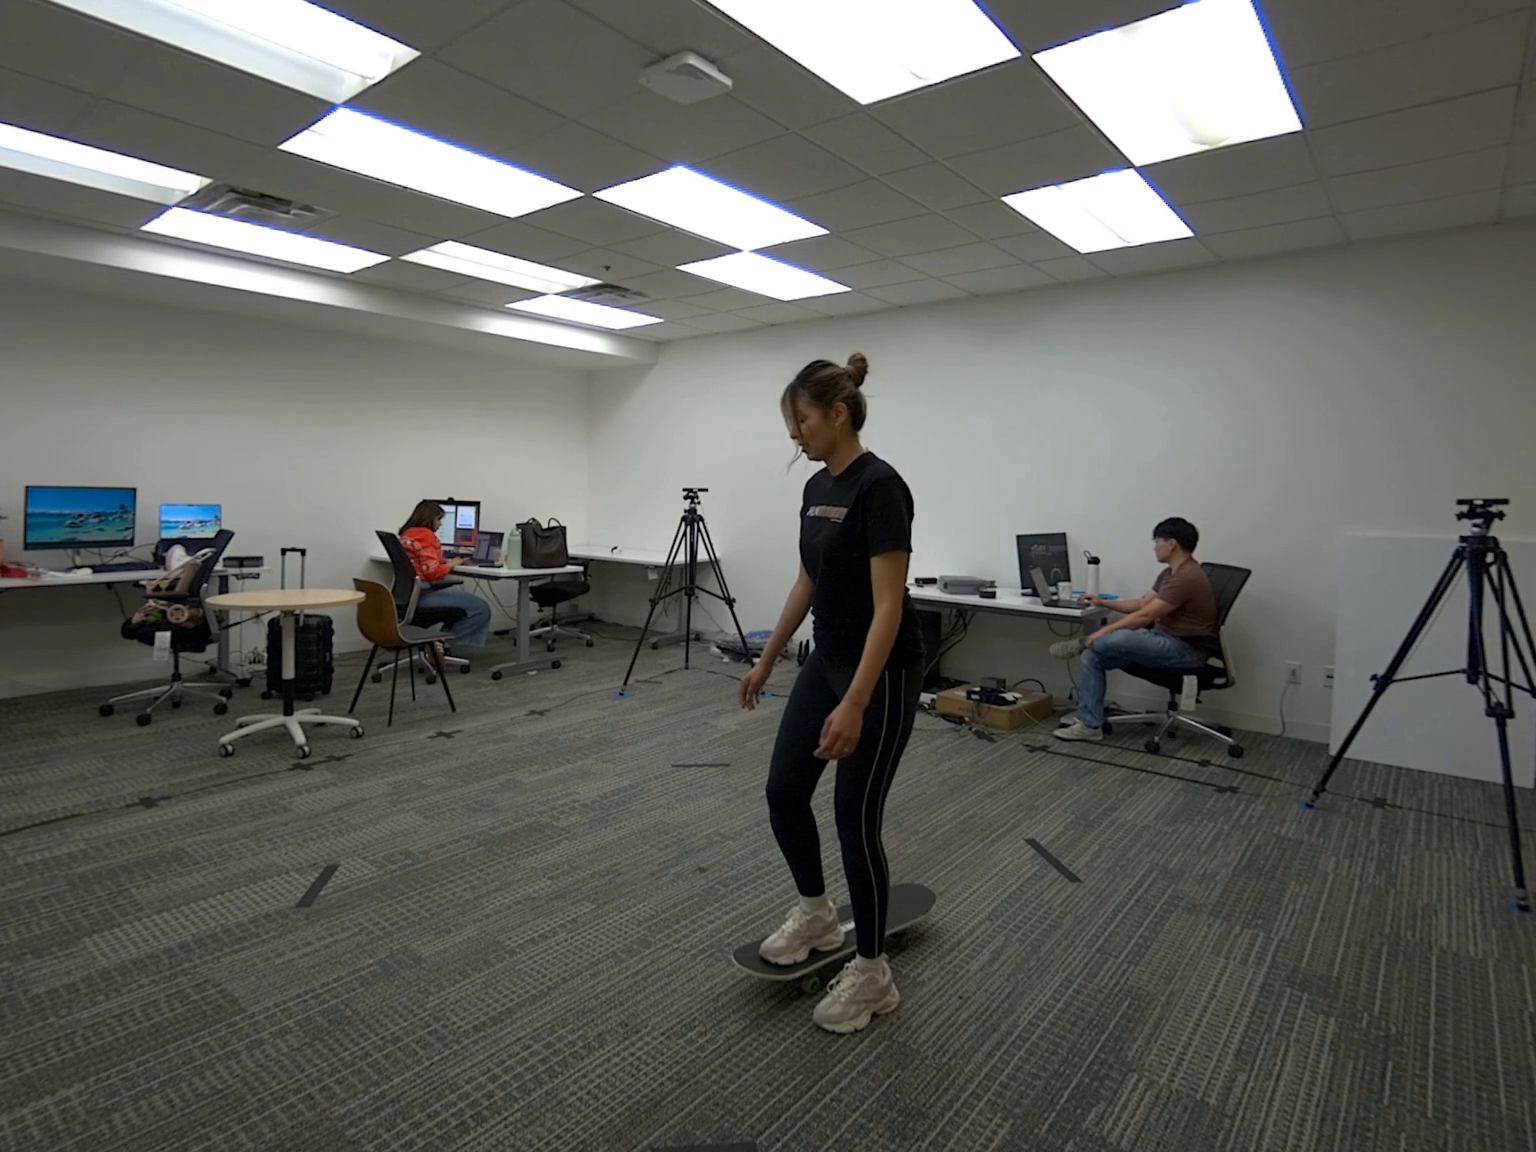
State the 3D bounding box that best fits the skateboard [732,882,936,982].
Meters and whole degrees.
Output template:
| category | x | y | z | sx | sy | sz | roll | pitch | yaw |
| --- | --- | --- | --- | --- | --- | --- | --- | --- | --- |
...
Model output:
| category | x | y | z | sx | sy | sz | roll | pitch | yaw |
| --- | --- | --- | --- | --- | --- | --- | --- | --- | --- |
| skateboard | 0.204 | 1.083 | 2.535 | 0.762 | 0.110 | 0.200 | -4 | 7 | -40 |
